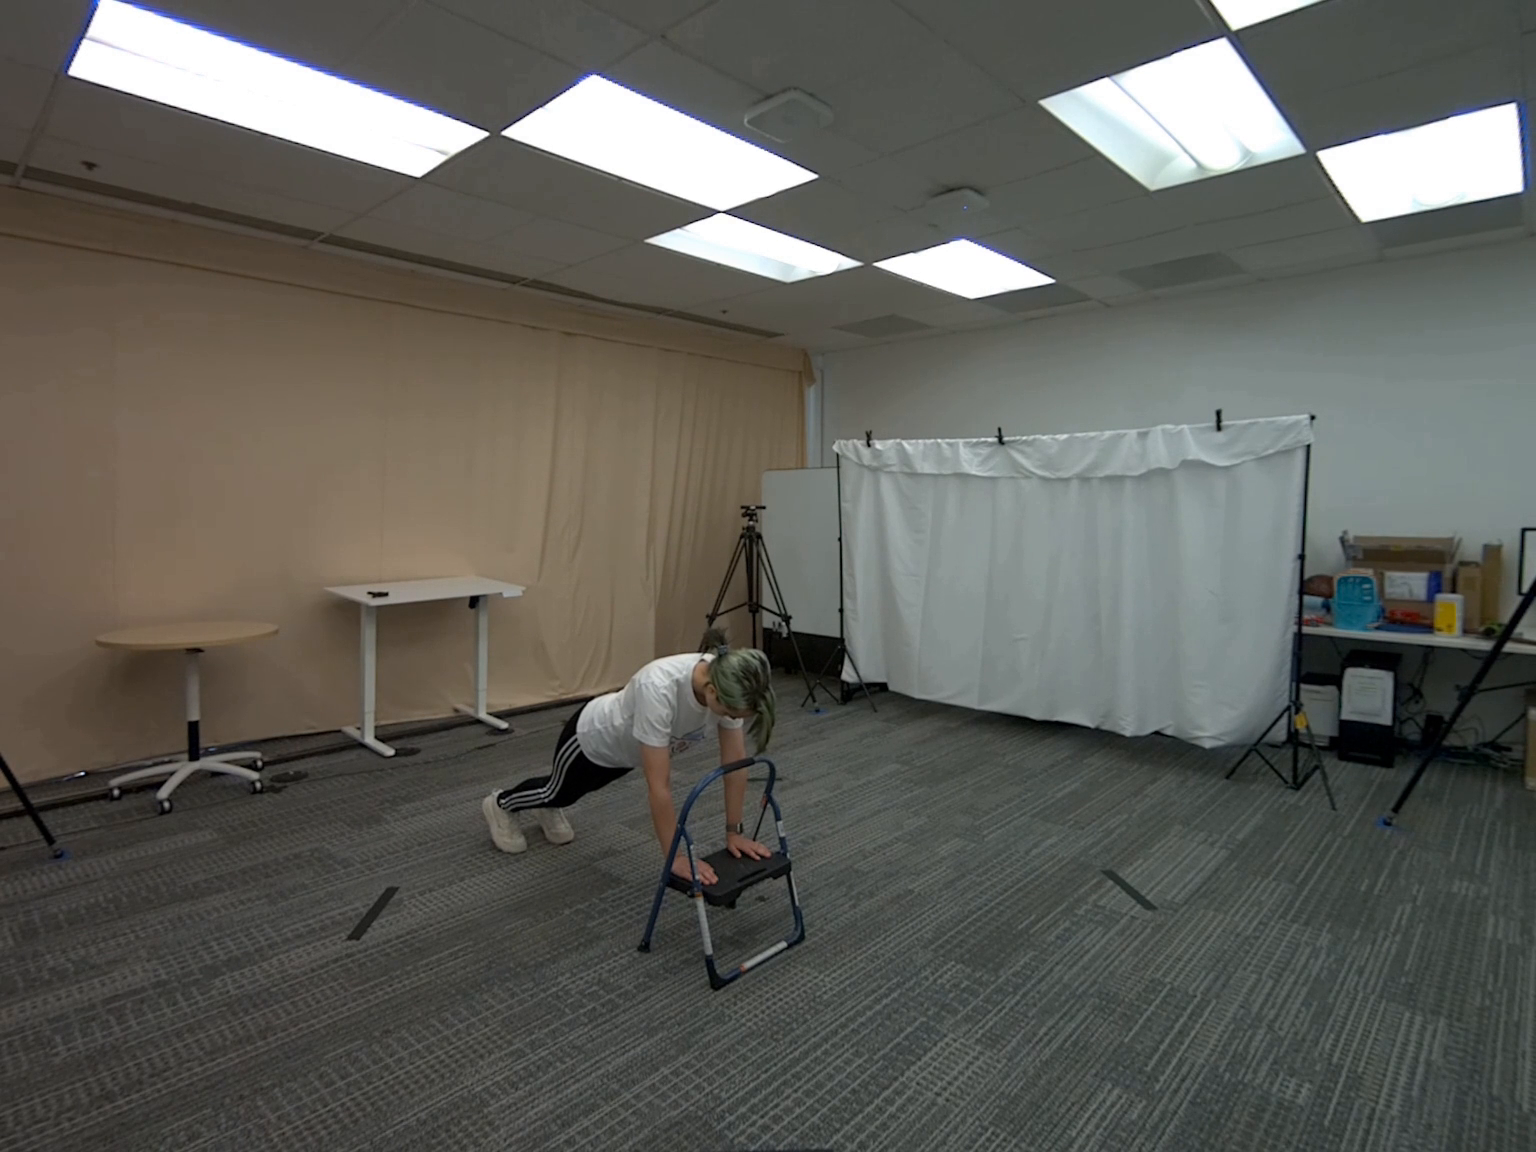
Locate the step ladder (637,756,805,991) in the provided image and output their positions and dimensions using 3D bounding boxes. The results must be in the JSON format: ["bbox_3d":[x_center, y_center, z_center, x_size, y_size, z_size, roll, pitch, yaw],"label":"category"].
[{"bbox_3d":[-0.139,0.870,2.661,0.361,0.605,0.417,3,4,42],"label":"step ladder"}]
